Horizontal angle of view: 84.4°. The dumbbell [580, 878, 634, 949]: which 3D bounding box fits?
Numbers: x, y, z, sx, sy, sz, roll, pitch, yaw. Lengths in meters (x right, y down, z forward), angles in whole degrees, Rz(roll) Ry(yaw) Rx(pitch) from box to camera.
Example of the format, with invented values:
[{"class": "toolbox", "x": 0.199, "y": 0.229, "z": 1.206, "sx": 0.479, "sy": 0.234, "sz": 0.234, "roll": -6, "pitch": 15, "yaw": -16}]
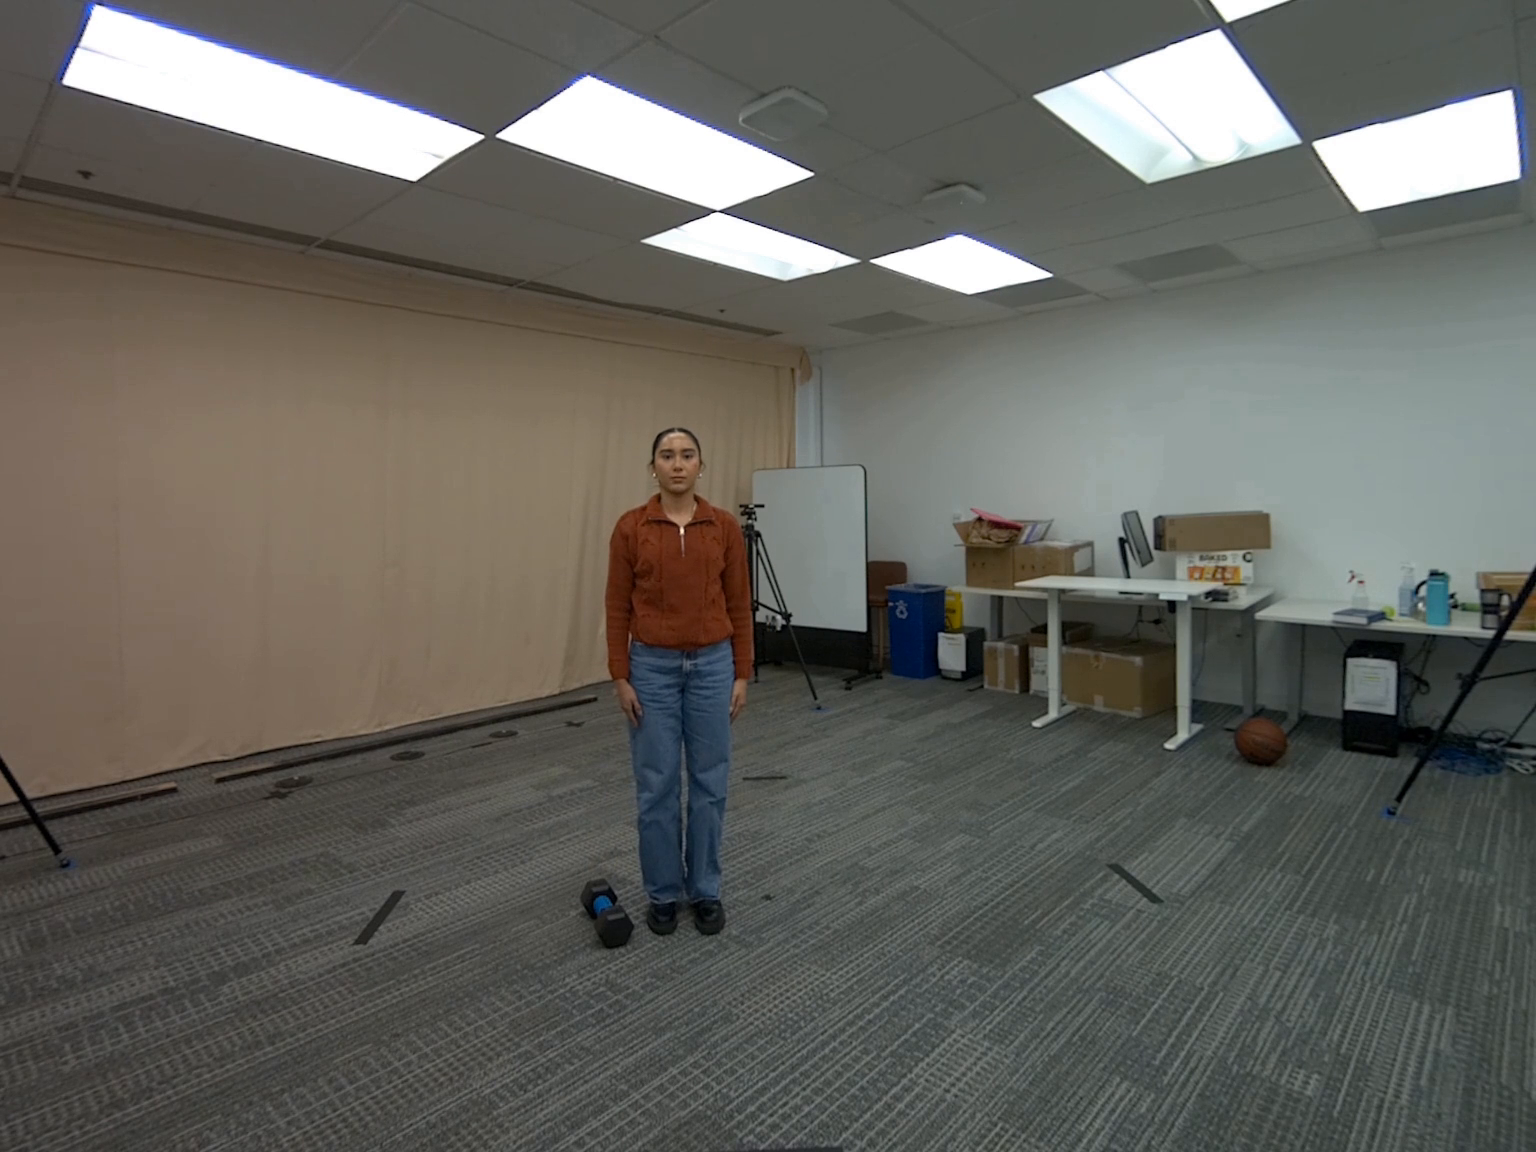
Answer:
[{"class": "dumbbell", "x": -0.543, "y": 1.120, "z": 2.786, "sx": 0.106, "sy": 0.123, "sz": 0.301, "roll": 30, "pitch": -7, "yaw": -22}]
